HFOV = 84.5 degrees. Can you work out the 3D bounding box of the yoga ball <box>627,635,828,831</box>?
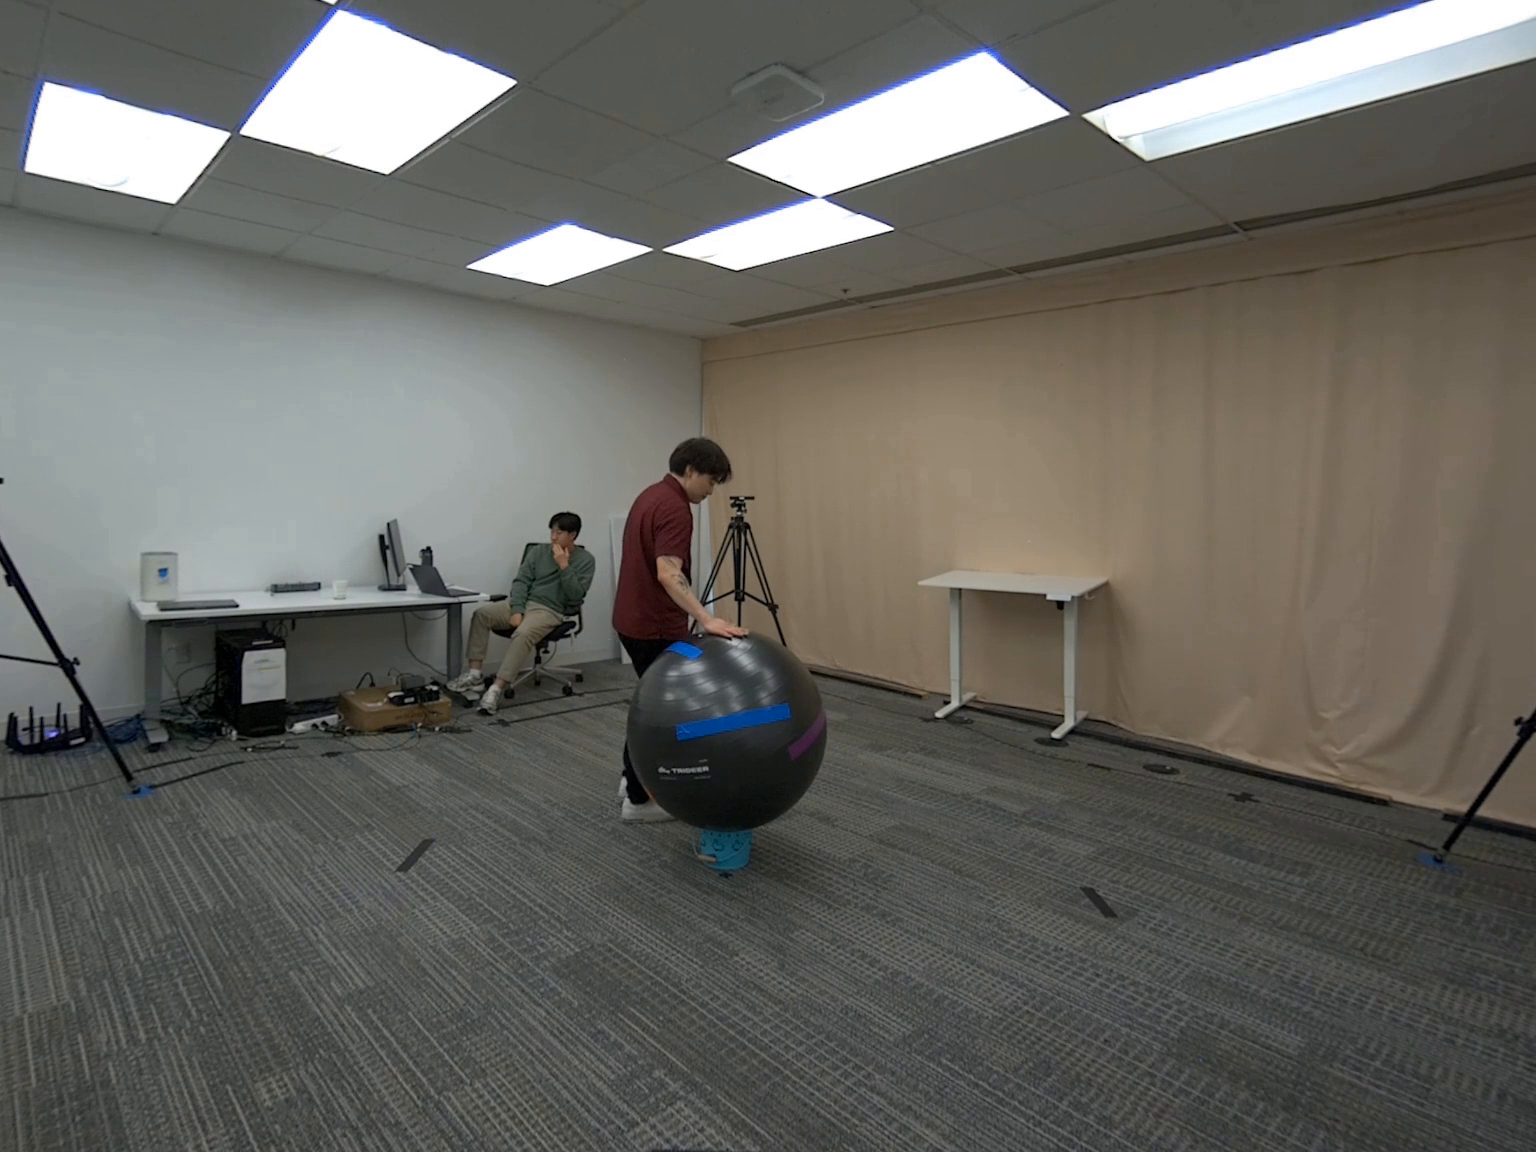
[{"bbox_3d":[-0.159,0.587,3.206,0.757,0.756,0.761,1,4,-1],"label":"yoga ball"}]
